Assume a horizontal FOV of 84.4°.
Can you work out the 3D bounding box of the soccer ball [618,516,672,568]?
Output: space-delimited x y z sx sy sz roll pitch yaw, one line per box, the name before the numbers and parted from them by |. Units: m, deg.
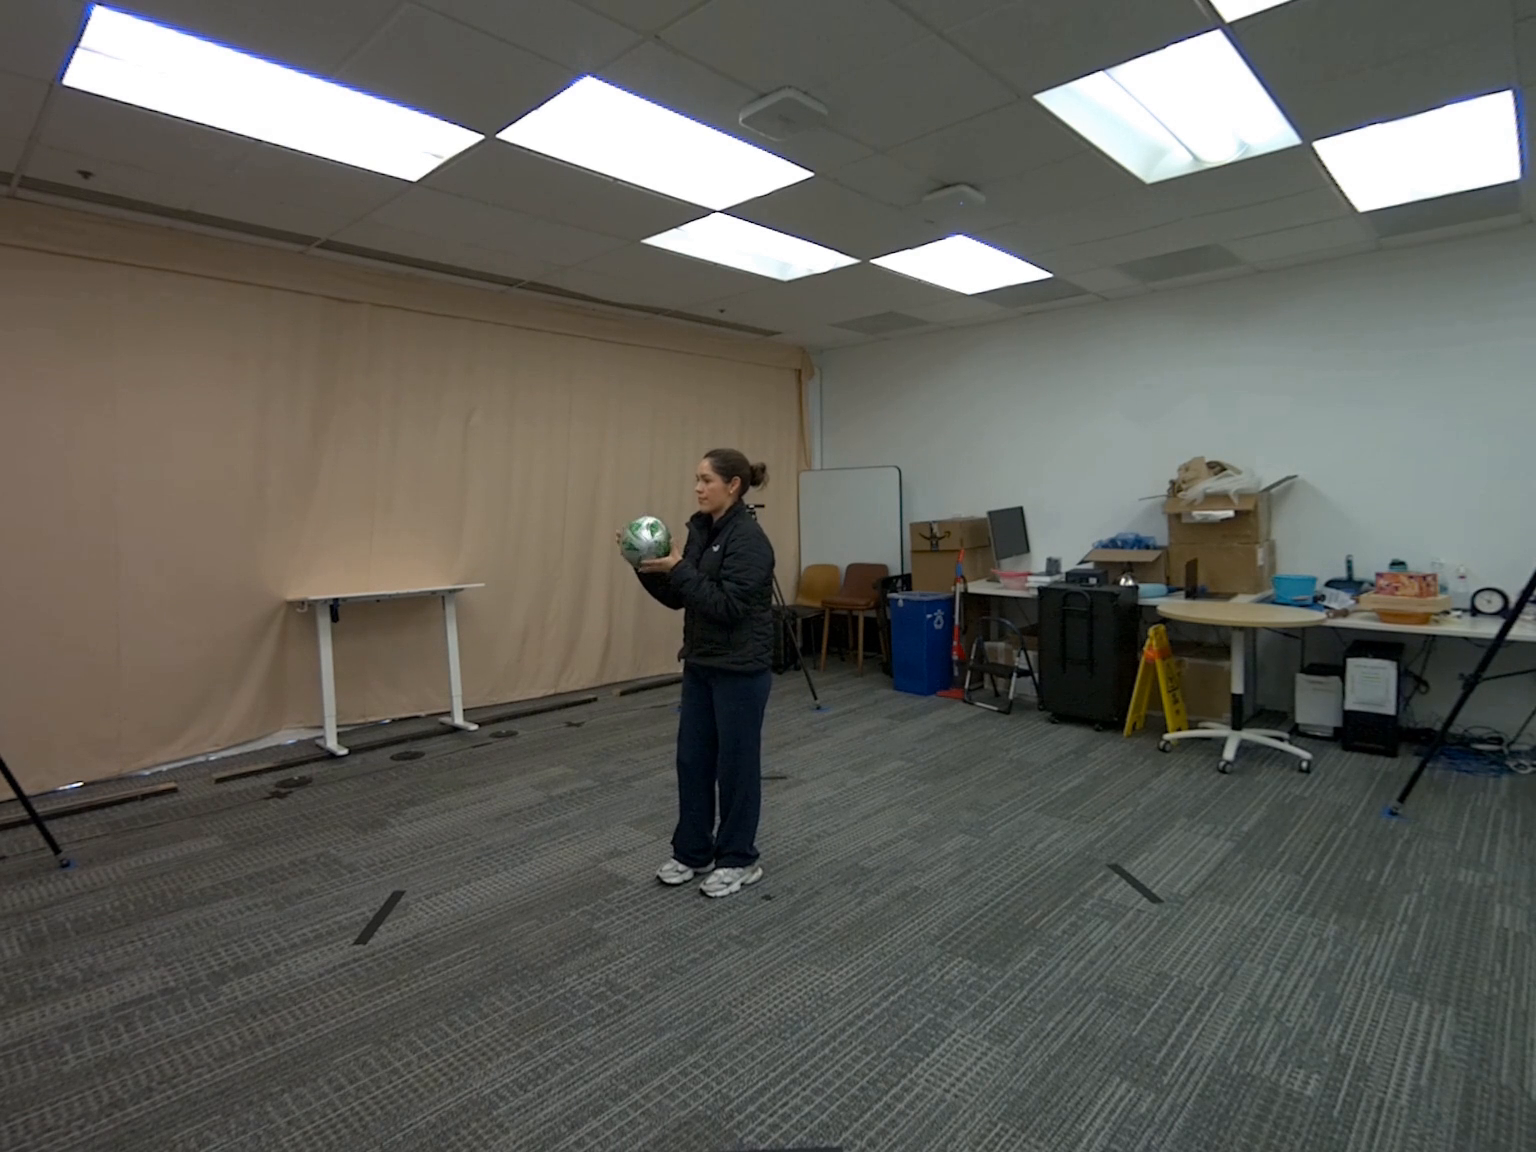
soccer ball | -0.433 -0.121 2.996 0.187 0.187 0.188 -1 4 -2
